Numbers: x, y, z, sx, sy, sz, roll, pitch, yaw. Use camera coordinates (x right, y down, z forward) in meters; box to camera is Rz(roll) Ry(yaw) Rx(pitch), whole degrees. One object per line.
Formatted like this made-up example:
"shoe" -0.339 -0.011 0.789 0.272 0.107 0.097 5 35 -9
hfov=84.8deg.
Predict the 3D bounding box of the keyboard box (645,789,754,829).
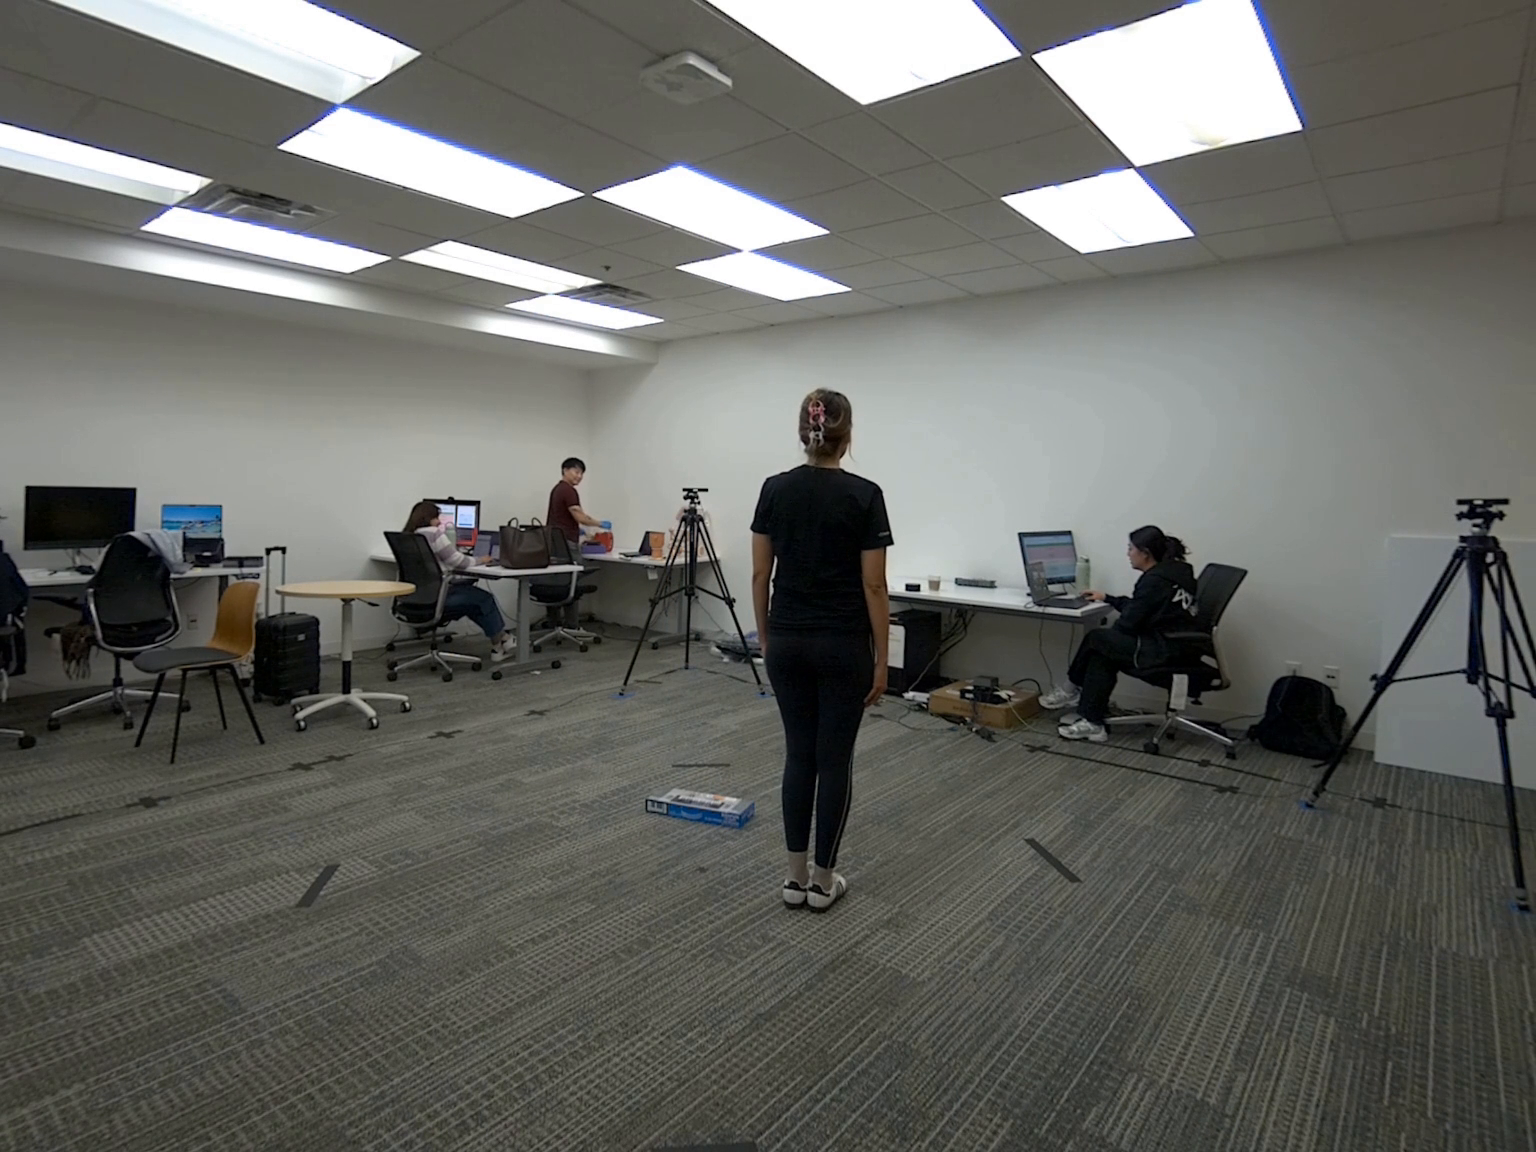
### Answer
"keyboard box" -0.302 0.986 3.651 0.447 0.059 0.172 3 5 22
